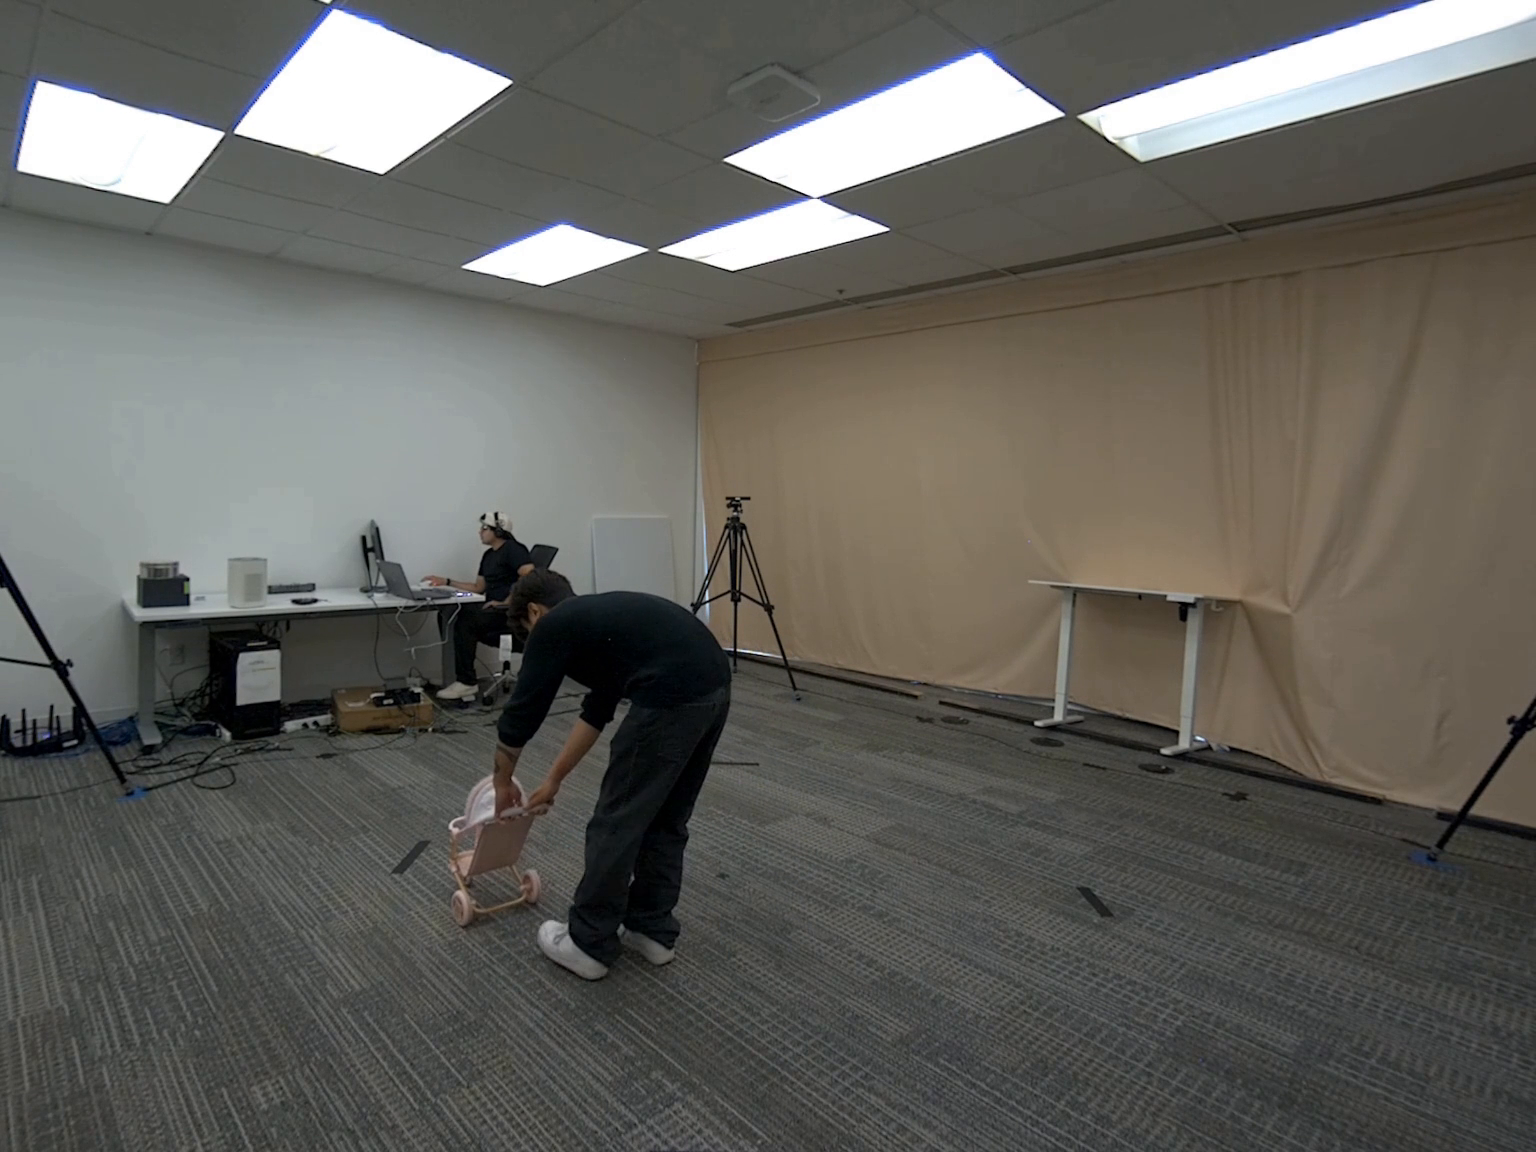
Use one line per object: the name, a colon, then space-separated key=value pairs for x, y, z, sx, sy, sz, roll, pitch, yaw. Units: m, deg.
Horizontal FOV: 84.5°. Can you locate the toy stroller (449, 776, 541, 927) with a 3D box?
toy stroller: x=-0.932 y=0.895 z=2.822 sx=0.275 sy=0.530 sz=0.352 roll=0 pitch=23 yaw=-37
